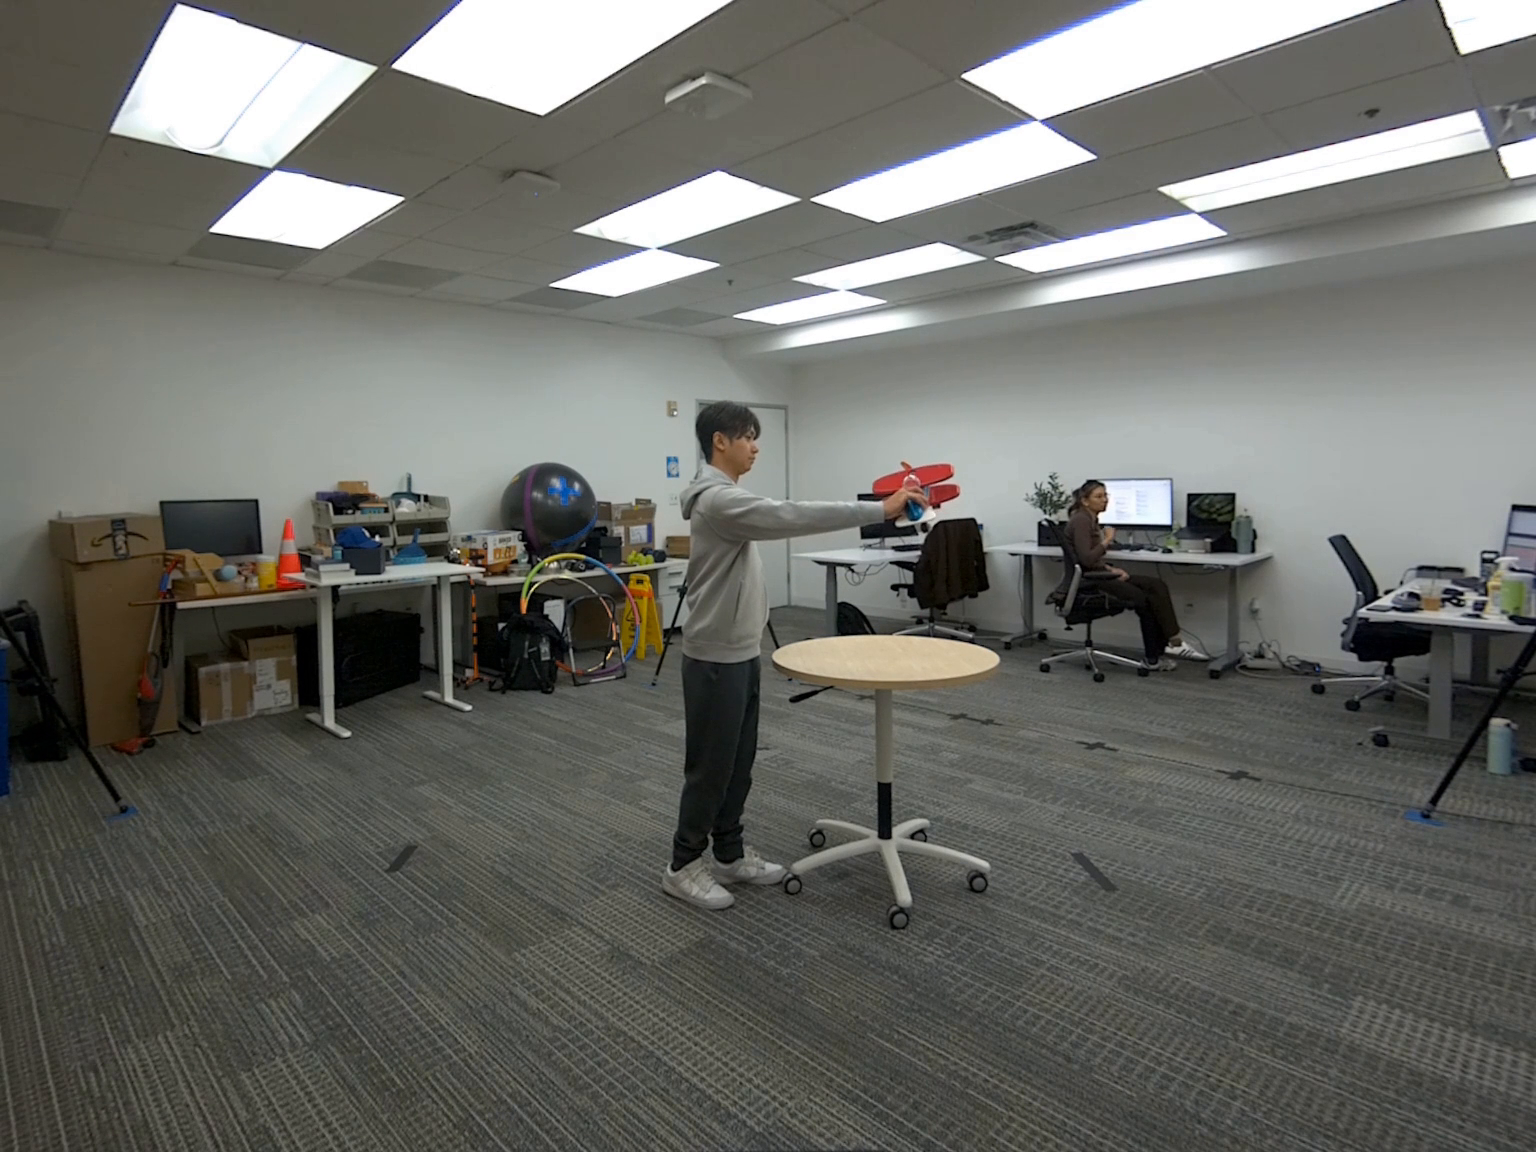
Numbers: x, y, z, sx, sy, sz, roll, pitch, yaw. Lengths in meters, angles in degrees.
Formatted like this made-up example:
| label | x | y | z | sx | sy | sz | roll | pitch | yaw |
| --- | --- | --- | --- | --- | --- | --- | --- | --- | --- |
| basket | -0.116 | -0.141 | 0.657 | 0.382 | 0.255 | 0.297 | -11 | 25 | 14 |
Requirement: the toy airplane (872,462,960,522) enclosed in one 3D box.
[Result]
| label | x | y | z | sx | sy | sz | roll | pitch | yaw |
| --- | --- | --- | --- | --- | --- | --- | --- | --- | --- |
| toy airplane | 0.480 | -0.240 | 2.636 | 0.250 | 0.153 | 0.266 | -22 | 21 | -5 |
